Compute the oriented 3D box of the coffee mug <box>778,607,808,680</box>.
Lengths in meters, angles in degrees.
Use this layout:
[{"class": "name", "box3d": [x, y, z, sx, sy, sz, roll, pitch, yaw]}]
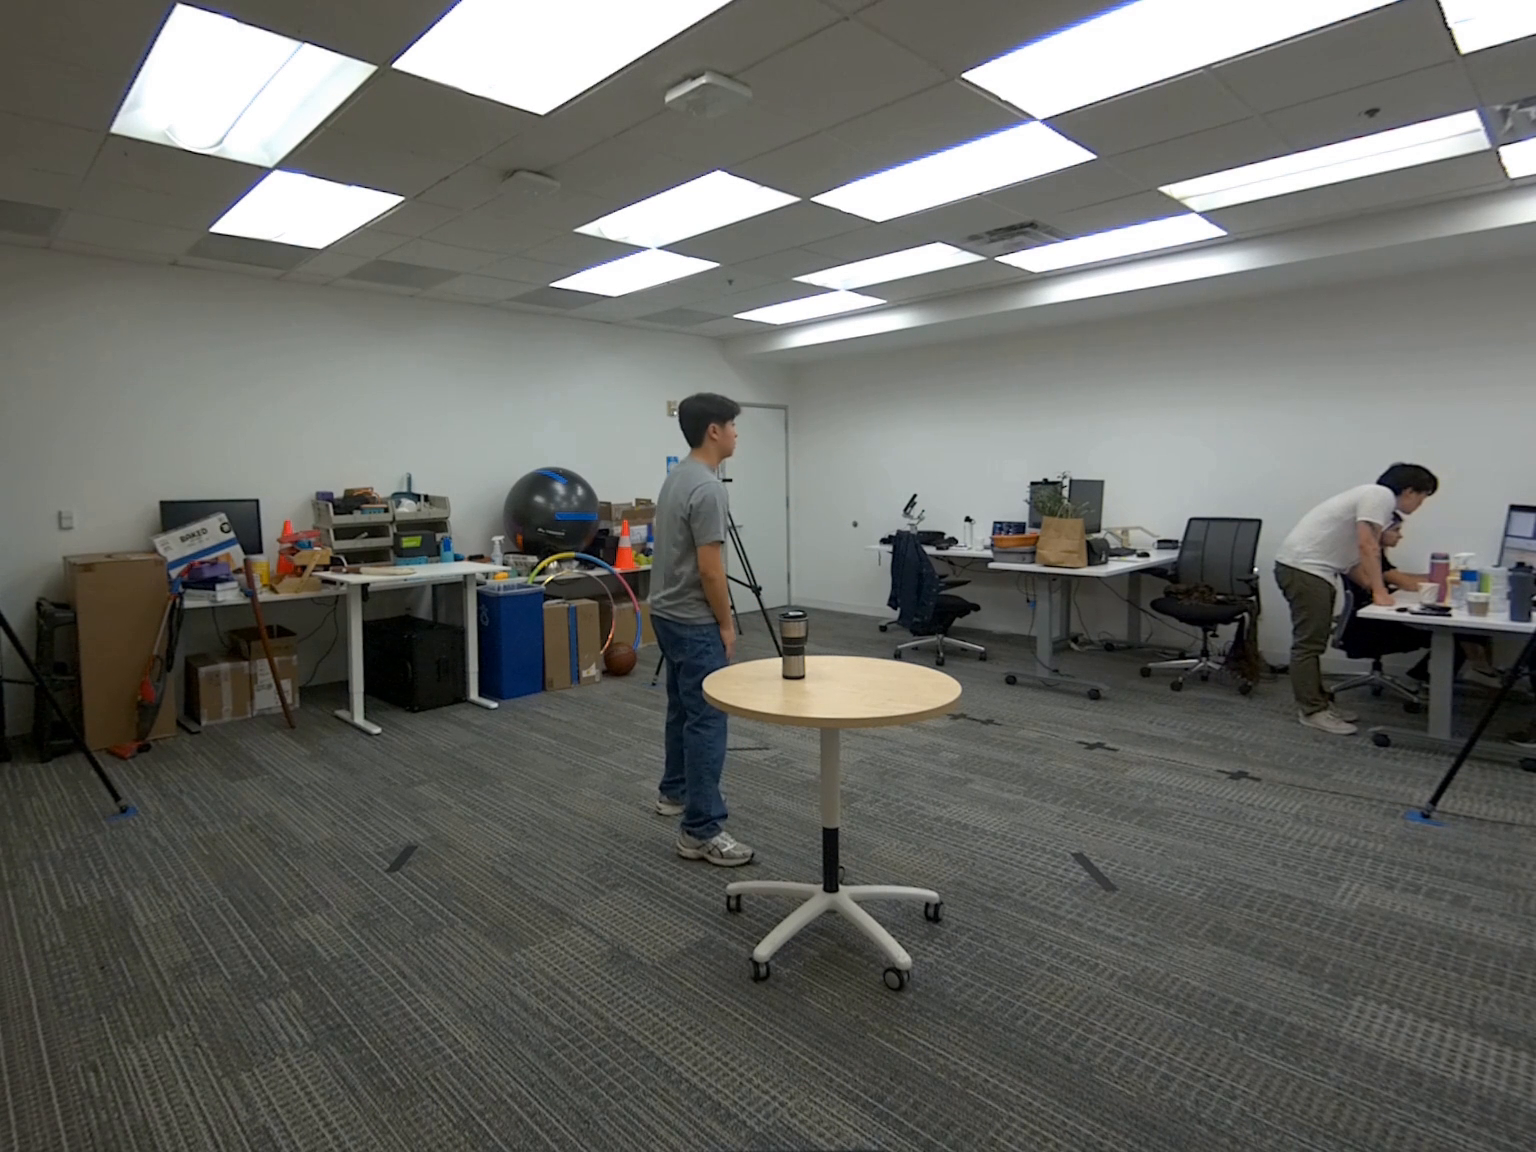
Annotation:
[{"class": "coffee mug", "box3d": [0.103, 0.214, 2.641, 0.119, 0.202, 0.090, -9, 5, -44]}]
